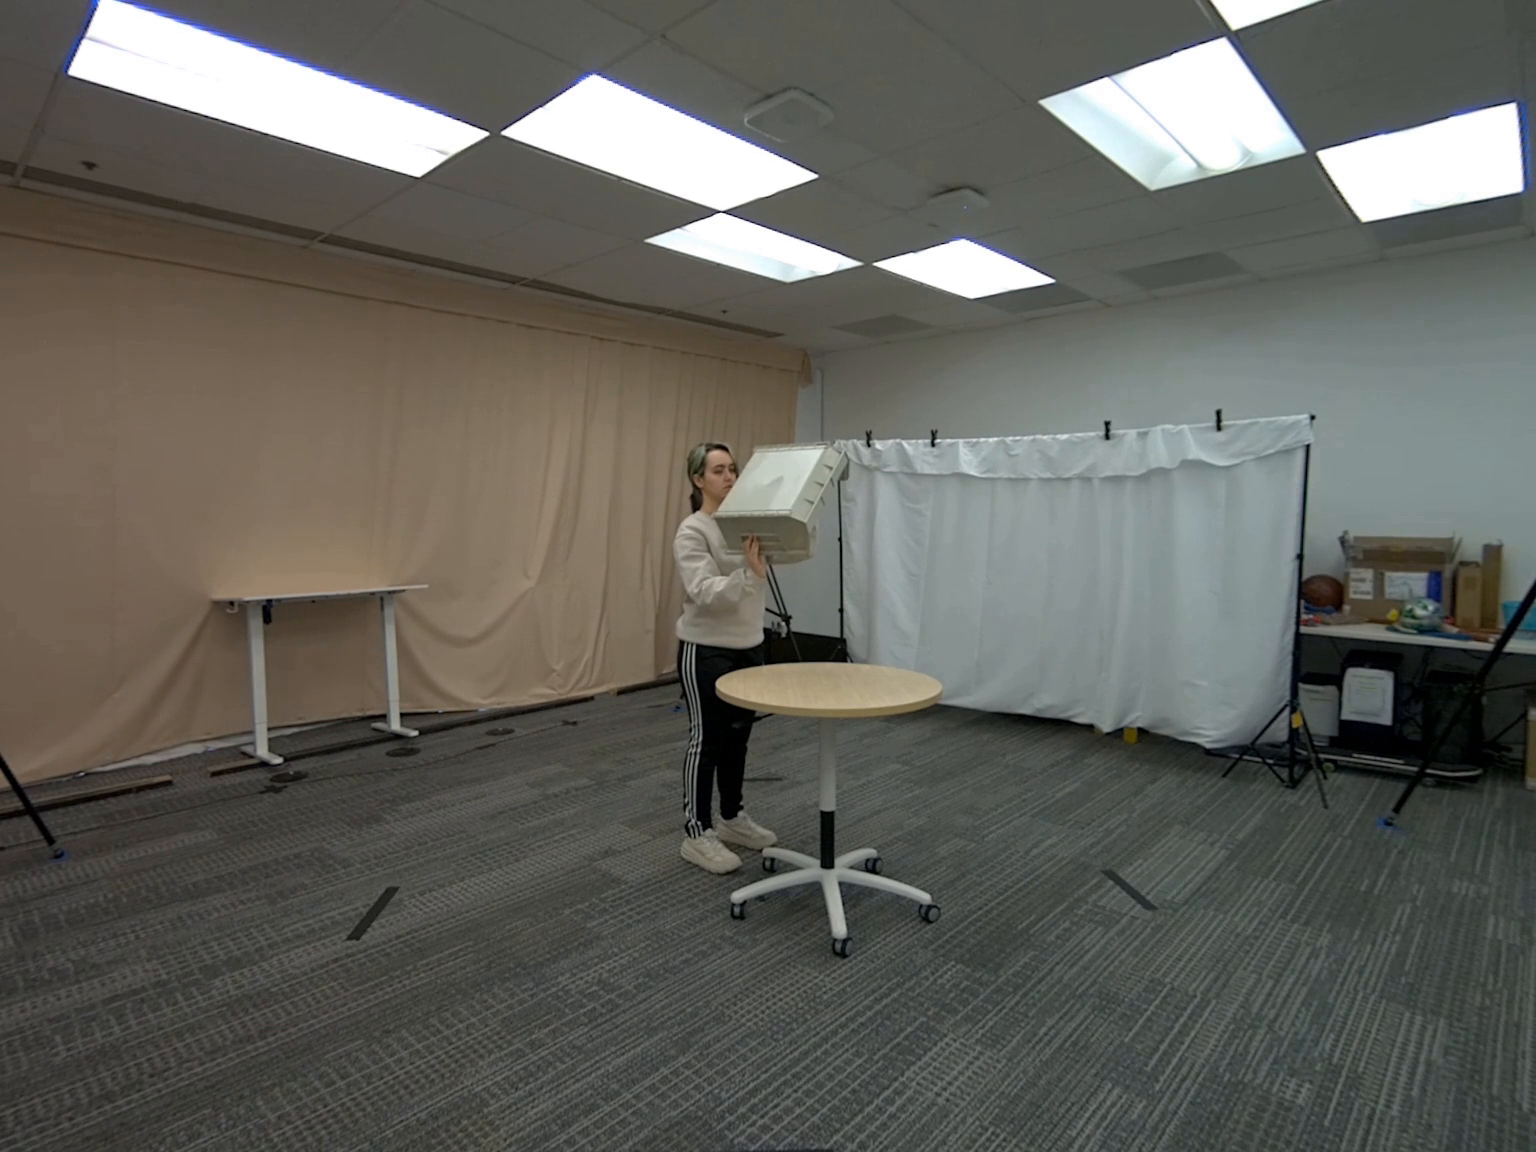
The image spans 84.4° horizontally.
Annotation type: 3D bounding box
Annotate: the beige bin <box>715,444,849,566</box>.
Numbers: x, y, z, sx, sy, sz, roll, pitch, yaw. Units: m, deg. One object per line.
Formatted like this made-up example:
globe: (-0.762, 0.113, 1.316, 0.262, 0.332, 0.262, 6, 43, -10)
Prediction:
beige bin: (0.064, -0.272, 3.033, 0.388, 0.183, 0.422, 2, 45, 31)
